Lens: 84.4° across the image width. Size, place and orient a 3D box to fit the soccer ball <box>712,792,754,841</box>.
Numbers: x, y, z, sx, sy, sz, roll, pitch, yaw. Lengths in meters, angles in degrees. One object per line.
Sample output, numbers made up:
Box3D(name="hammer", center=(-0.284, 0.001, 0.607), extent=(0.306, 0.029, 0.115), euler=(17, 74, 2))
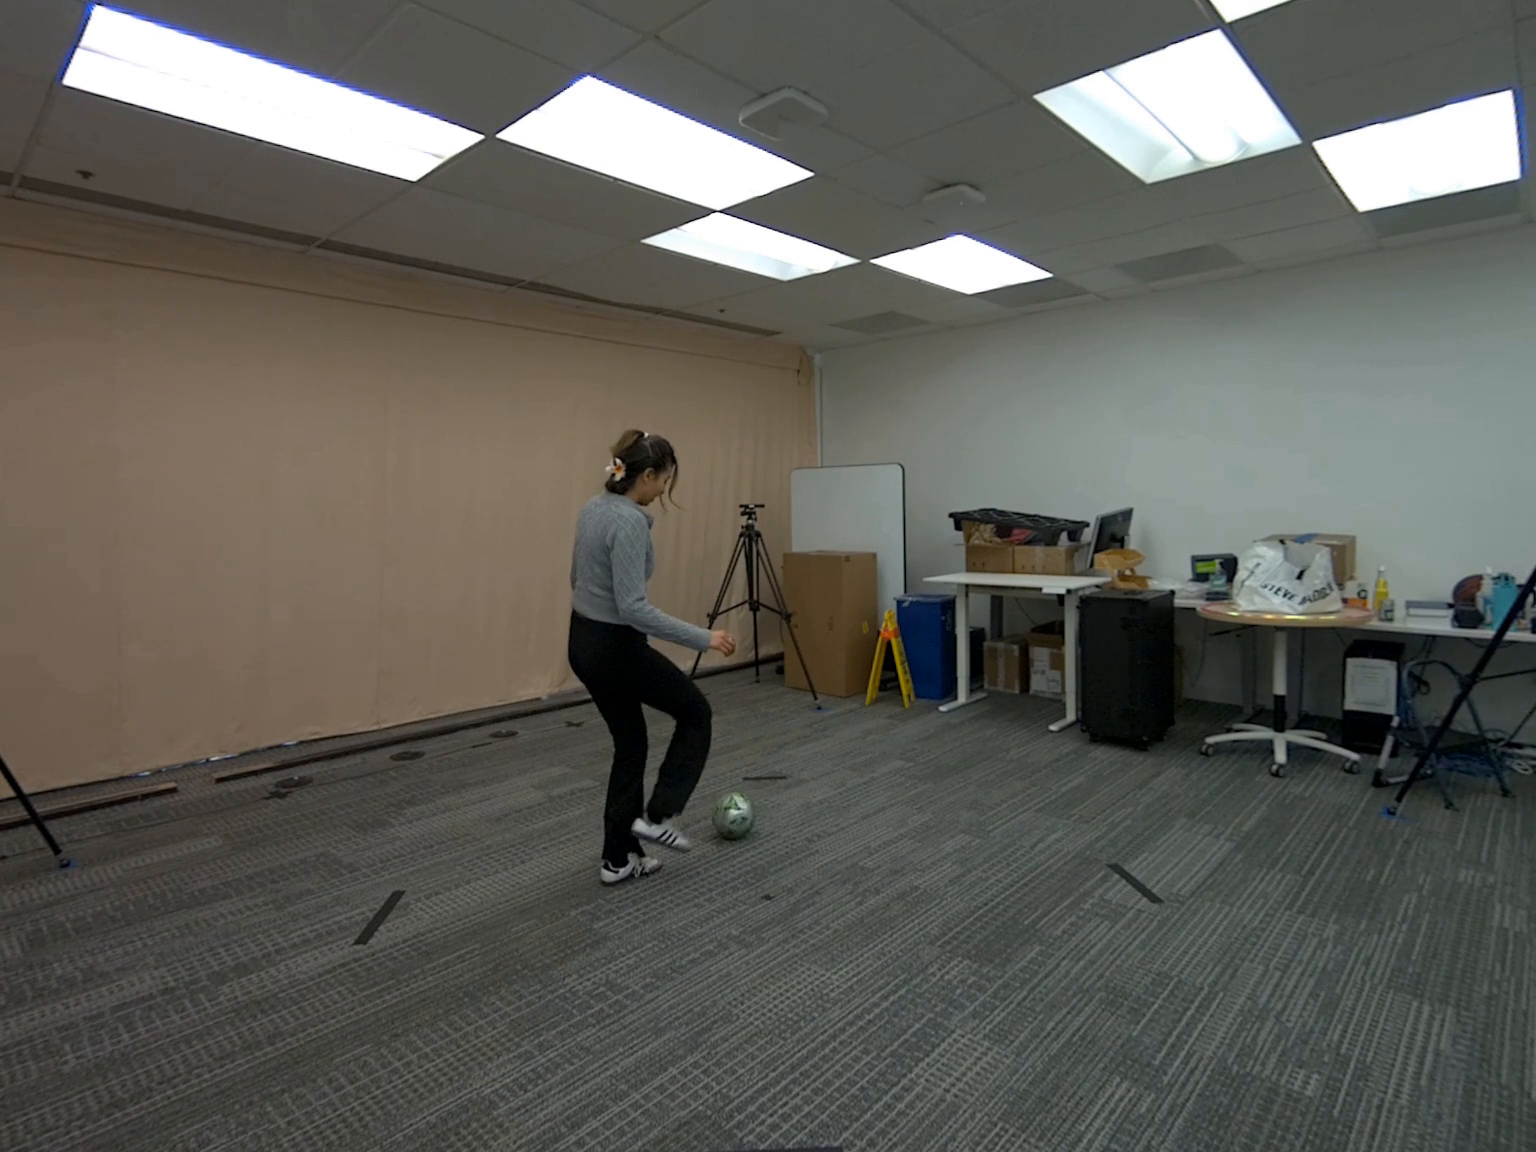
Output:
Box3D(name="soccer ball", center=(-0.142, 0.999, 3.523), extent=(0.187, 0.187, 0.188), euler=(-1, 4, -2))
